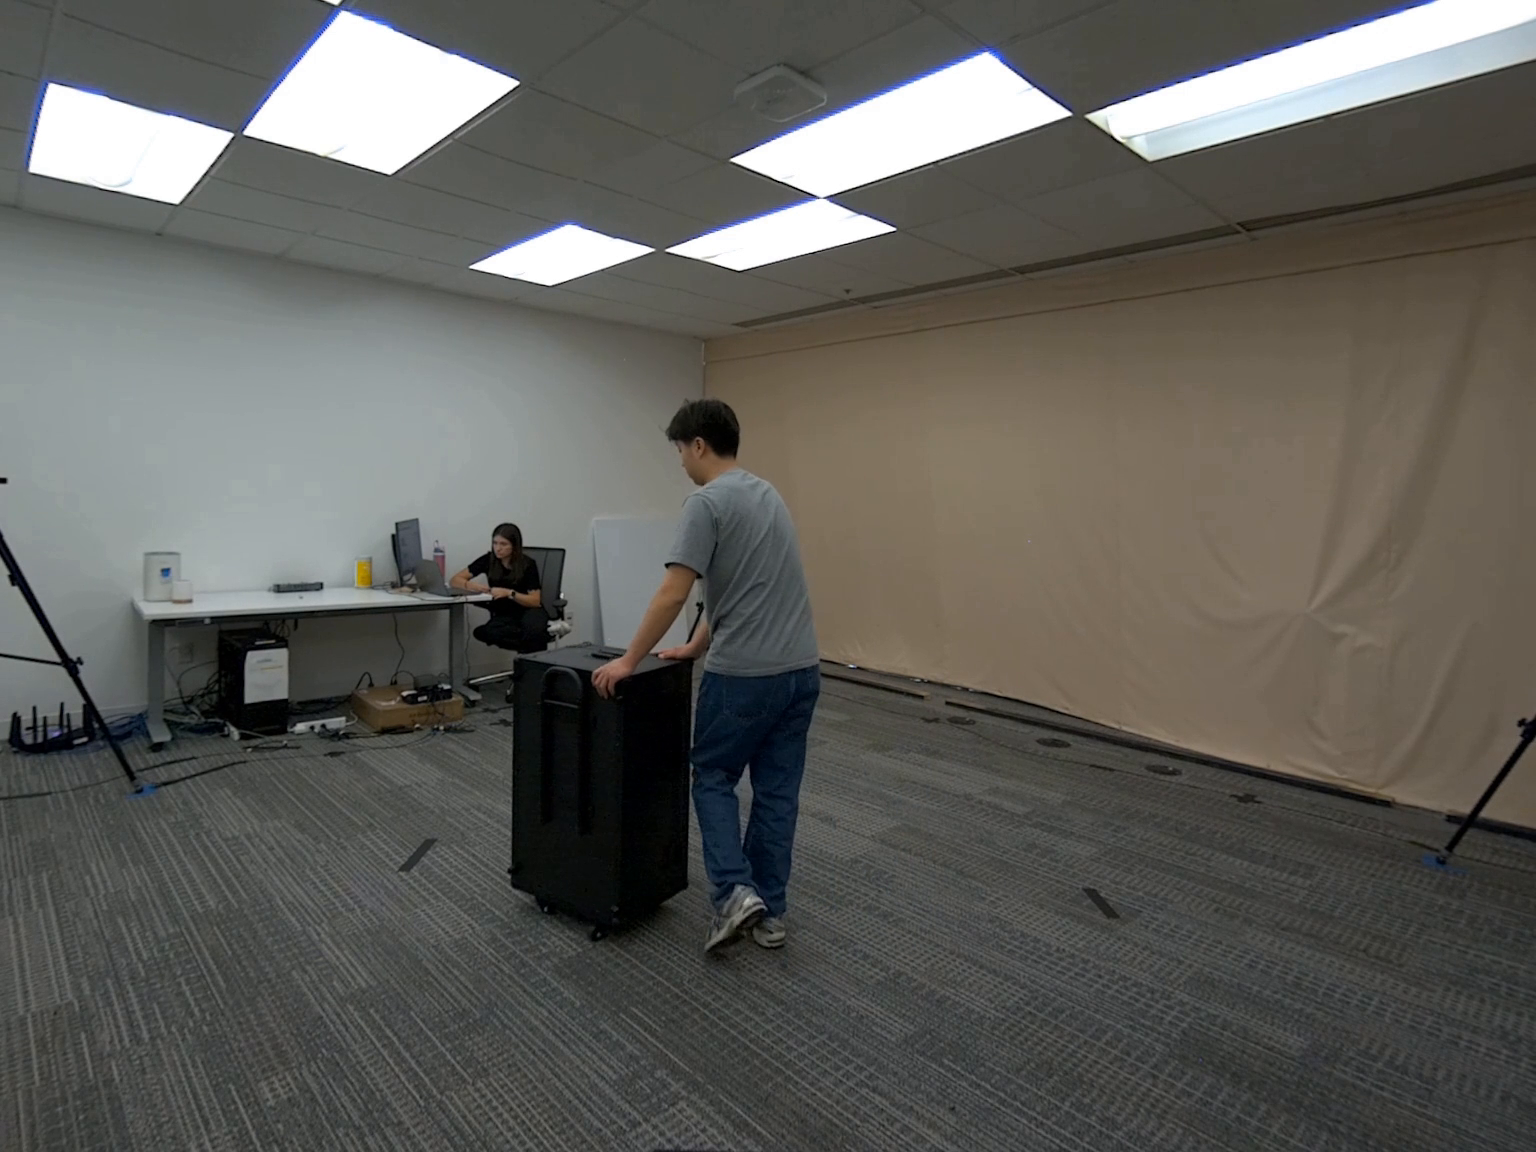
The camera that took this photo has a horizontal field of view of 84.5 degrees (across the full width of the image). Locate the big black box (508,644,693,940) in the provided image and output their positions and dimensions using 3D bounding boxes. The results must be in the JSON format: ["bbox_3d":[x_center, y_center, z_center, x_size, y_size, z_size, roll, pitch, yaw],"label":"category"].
[{"bbox_3d":[-0.561,0.699,2.806,0.533,0.859,0.388,4,5,32],"label":"big black box"}]
